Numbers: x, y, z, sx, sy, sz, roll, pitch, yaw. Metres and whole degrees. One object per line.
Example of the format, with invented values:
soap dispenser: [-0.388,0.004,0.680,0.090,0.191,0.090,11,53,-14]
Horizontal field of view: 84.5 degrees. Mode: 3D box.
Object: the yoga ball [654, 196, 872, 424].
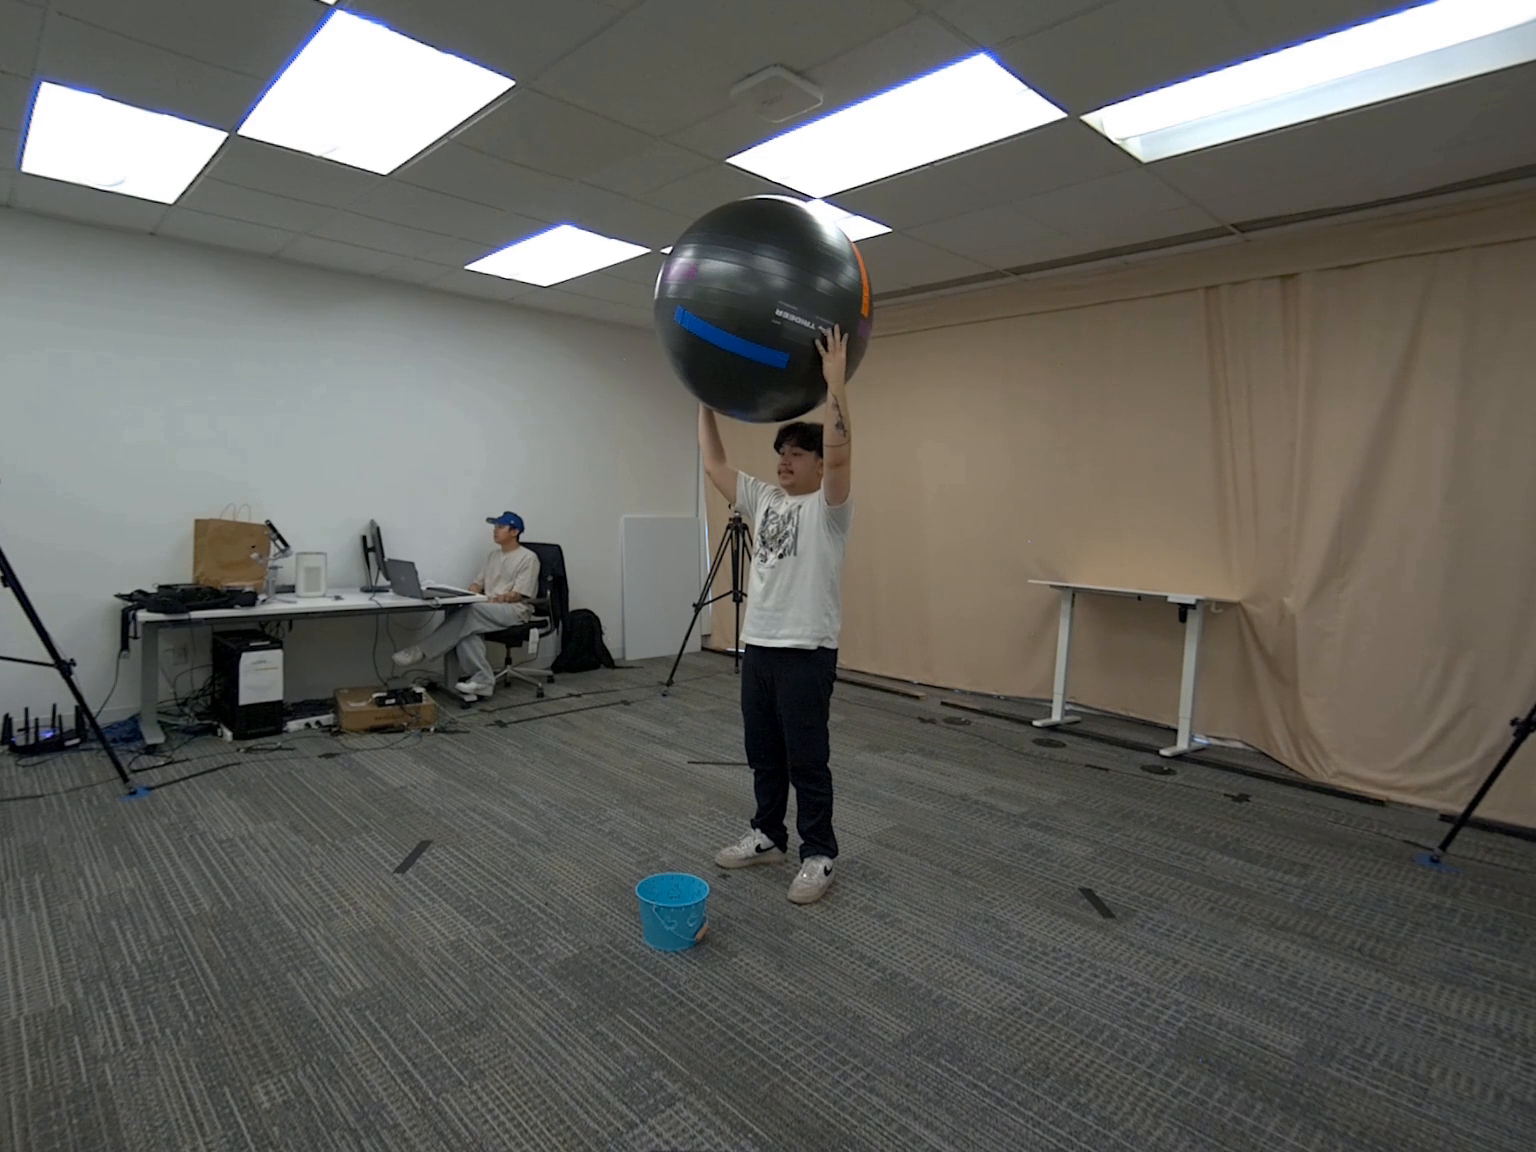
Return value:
yoga ball: [-0.018,-0.918,2.937,0.757,0.756,0.760,1,4,-1]
